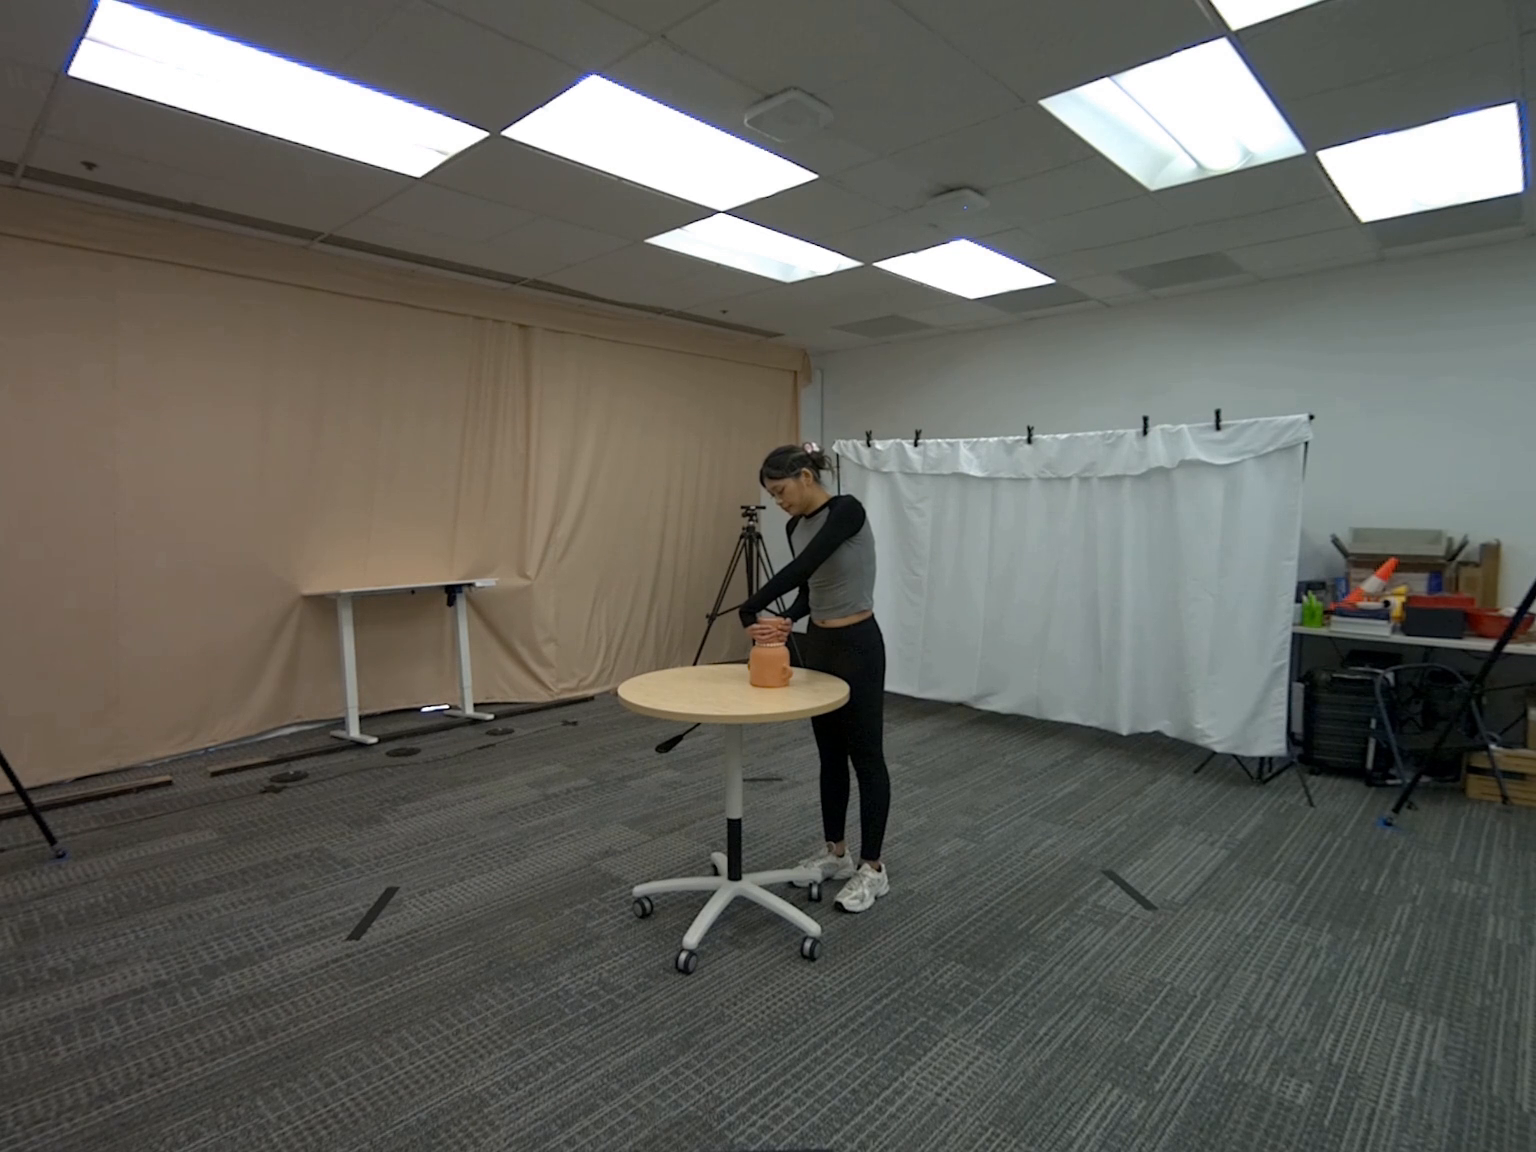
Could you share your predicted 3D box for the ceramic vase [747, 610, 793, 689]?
[{"bbox_3d":[0.011,0.254,2.823,0.159,0.219,0.134,-1,3,3],"label":"ceramic vase"}]
